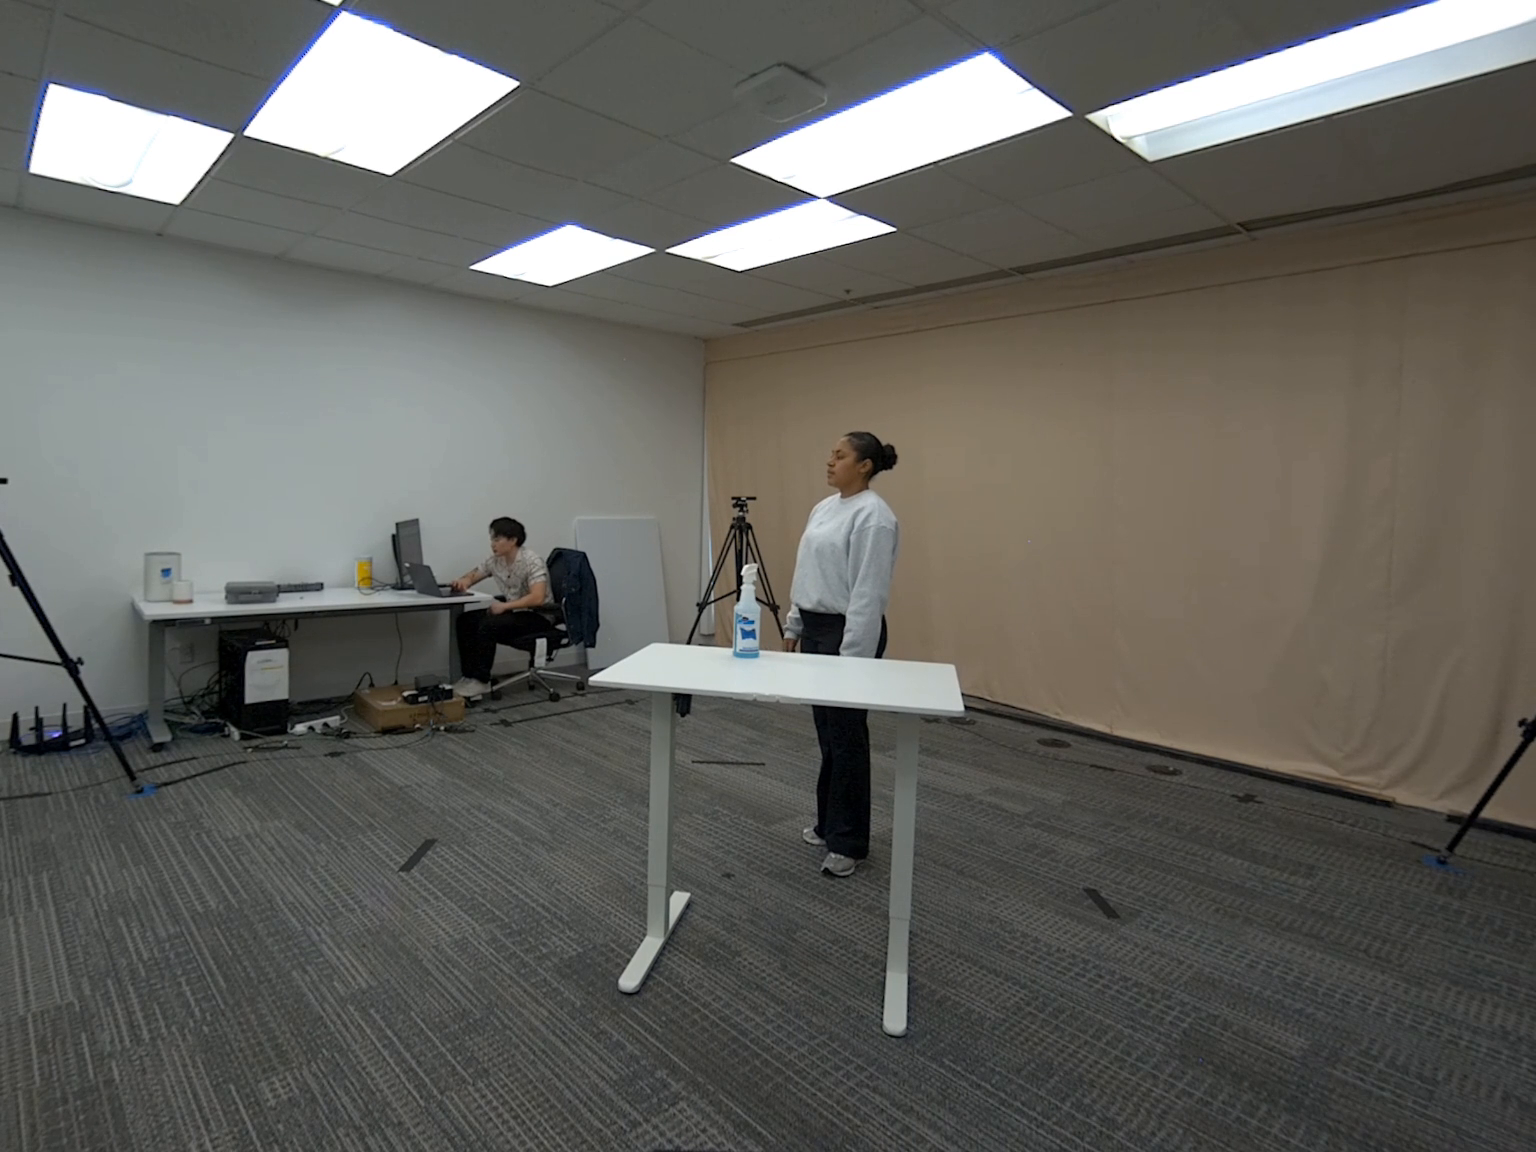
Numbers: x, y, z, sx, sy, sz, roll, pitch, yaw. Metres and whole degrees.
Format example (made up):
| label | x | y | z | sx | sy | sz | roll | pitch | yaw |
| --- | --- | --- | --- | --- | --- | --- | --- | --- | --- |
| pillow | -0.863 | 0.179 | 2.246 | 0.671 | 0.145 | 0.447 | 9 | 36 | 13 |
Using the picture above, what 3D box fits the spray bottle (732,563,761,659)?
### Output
| label | x | y | z | sx | sy | sz | roll | pitch | yaw |
| --- | --- | --- | --- | --- | --- | --- | --- | --- | --- |
| spray bottle | -0.071 | 0.115 | 2.706 | 0.088 | 0.297 | 0.089 | 0 | 3 | -36 |
